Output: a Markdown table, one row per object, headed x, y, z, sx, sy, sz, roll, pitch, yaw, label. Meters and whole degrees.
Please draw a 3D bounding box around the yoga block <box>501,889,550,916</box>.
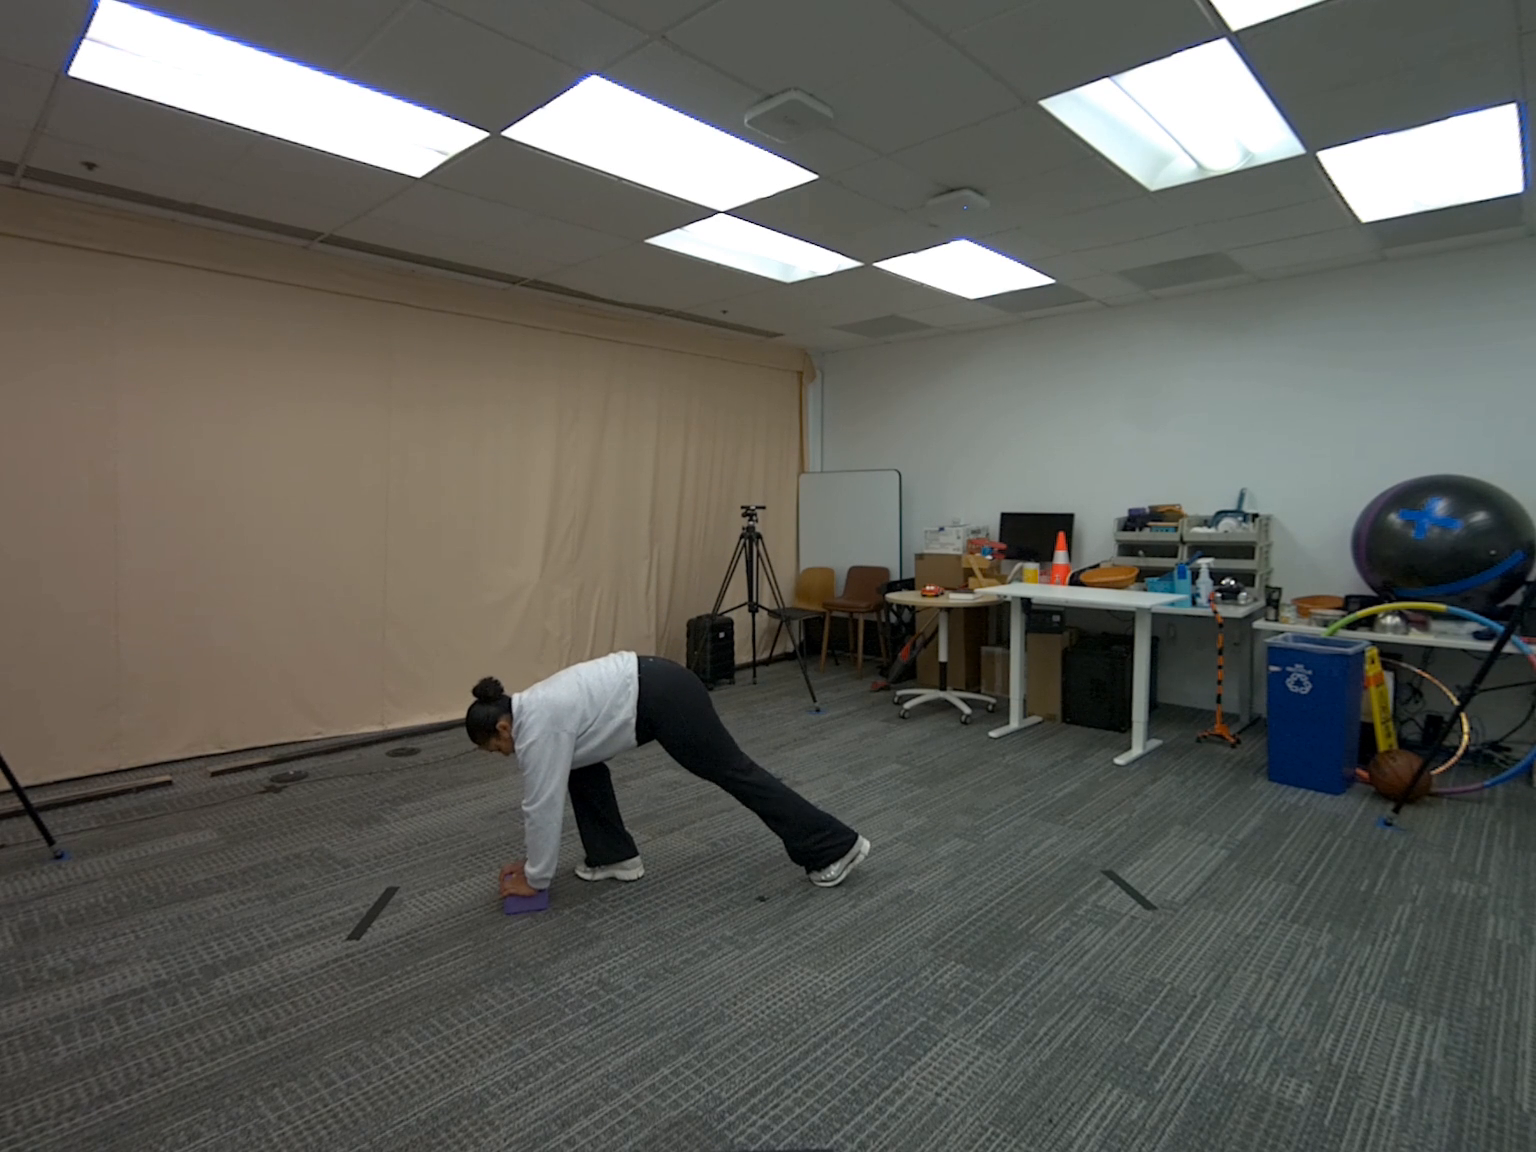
| x | y | z | sx | sy | sz | roll | pitch | yaw | label |
| --- | --- | --- | --- | --- | --- | --- | --- | --- | --- |
| -0.862 | 1.111 | 2.996 | 0.146 | 0.076 | 0.234 | -2 | 6 | -17 | yoga block |
